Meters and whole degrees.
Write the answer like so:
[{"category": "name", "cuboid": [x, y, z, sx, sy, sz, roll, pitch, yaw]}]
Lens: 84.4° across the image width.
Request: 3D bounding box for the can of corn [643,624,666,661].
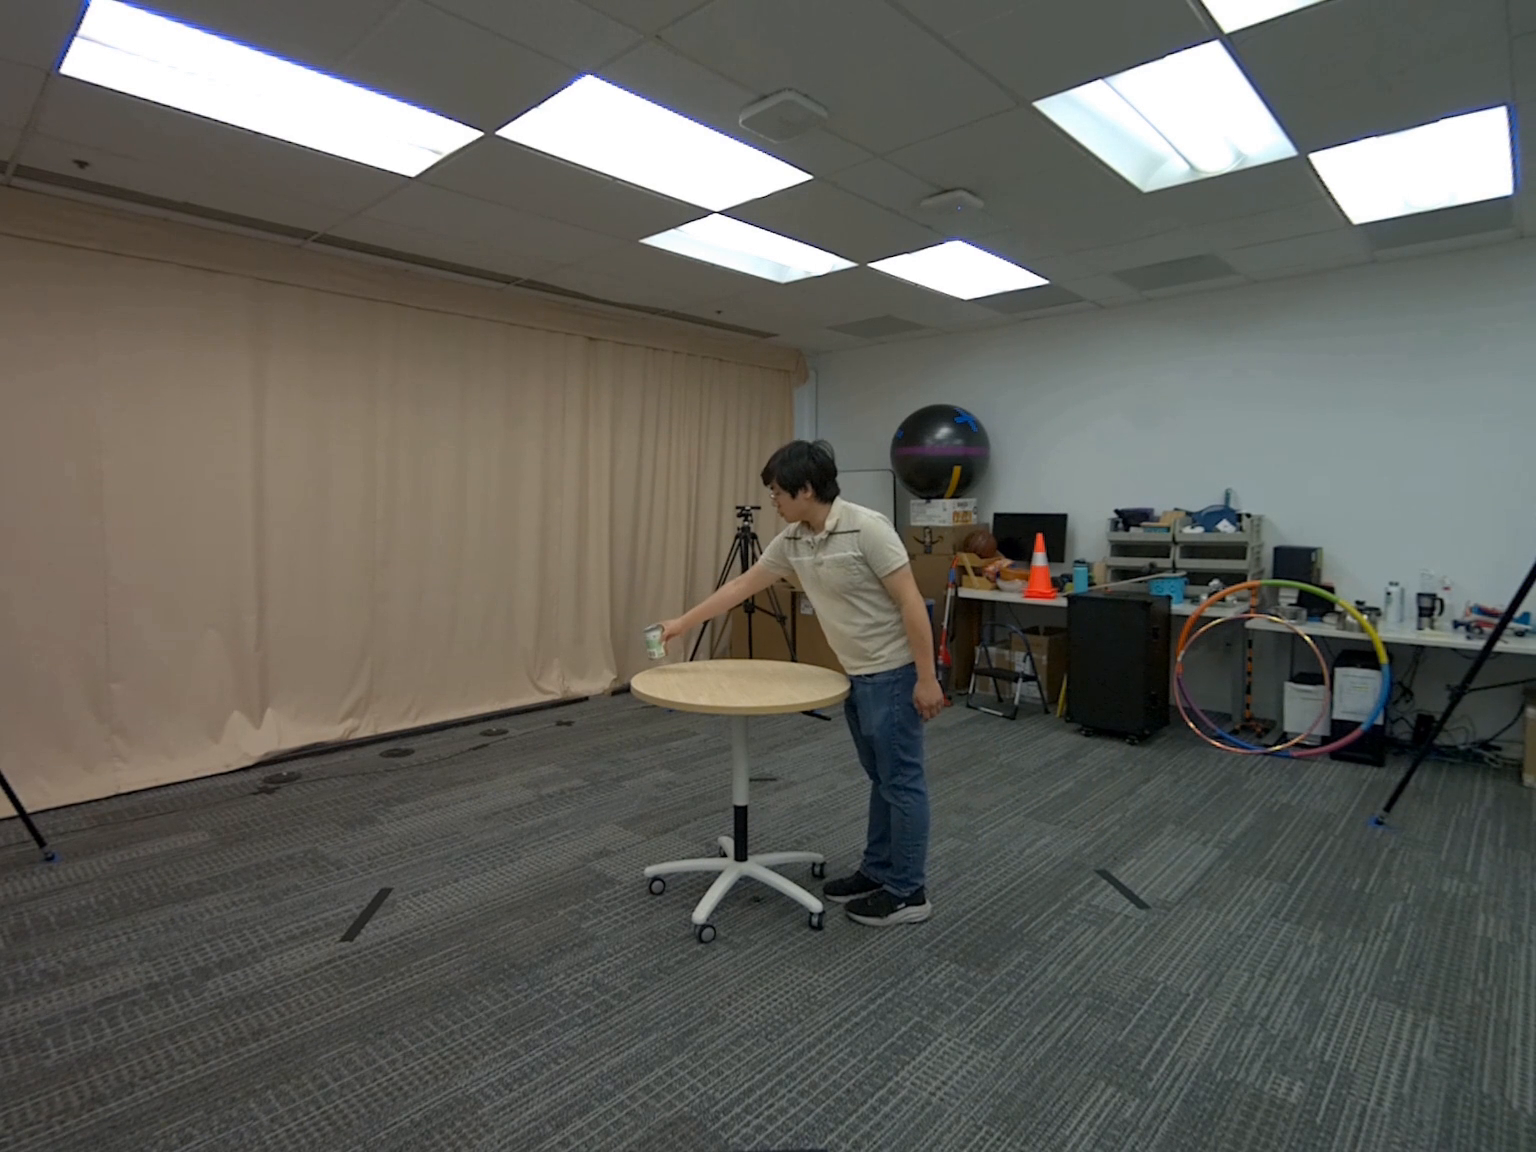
[{"category": "can of corn", "cuboid": [-0.448, 0.247, 3.100, 0.074, 0.110, 0.075, -5, 9, -1]}]
